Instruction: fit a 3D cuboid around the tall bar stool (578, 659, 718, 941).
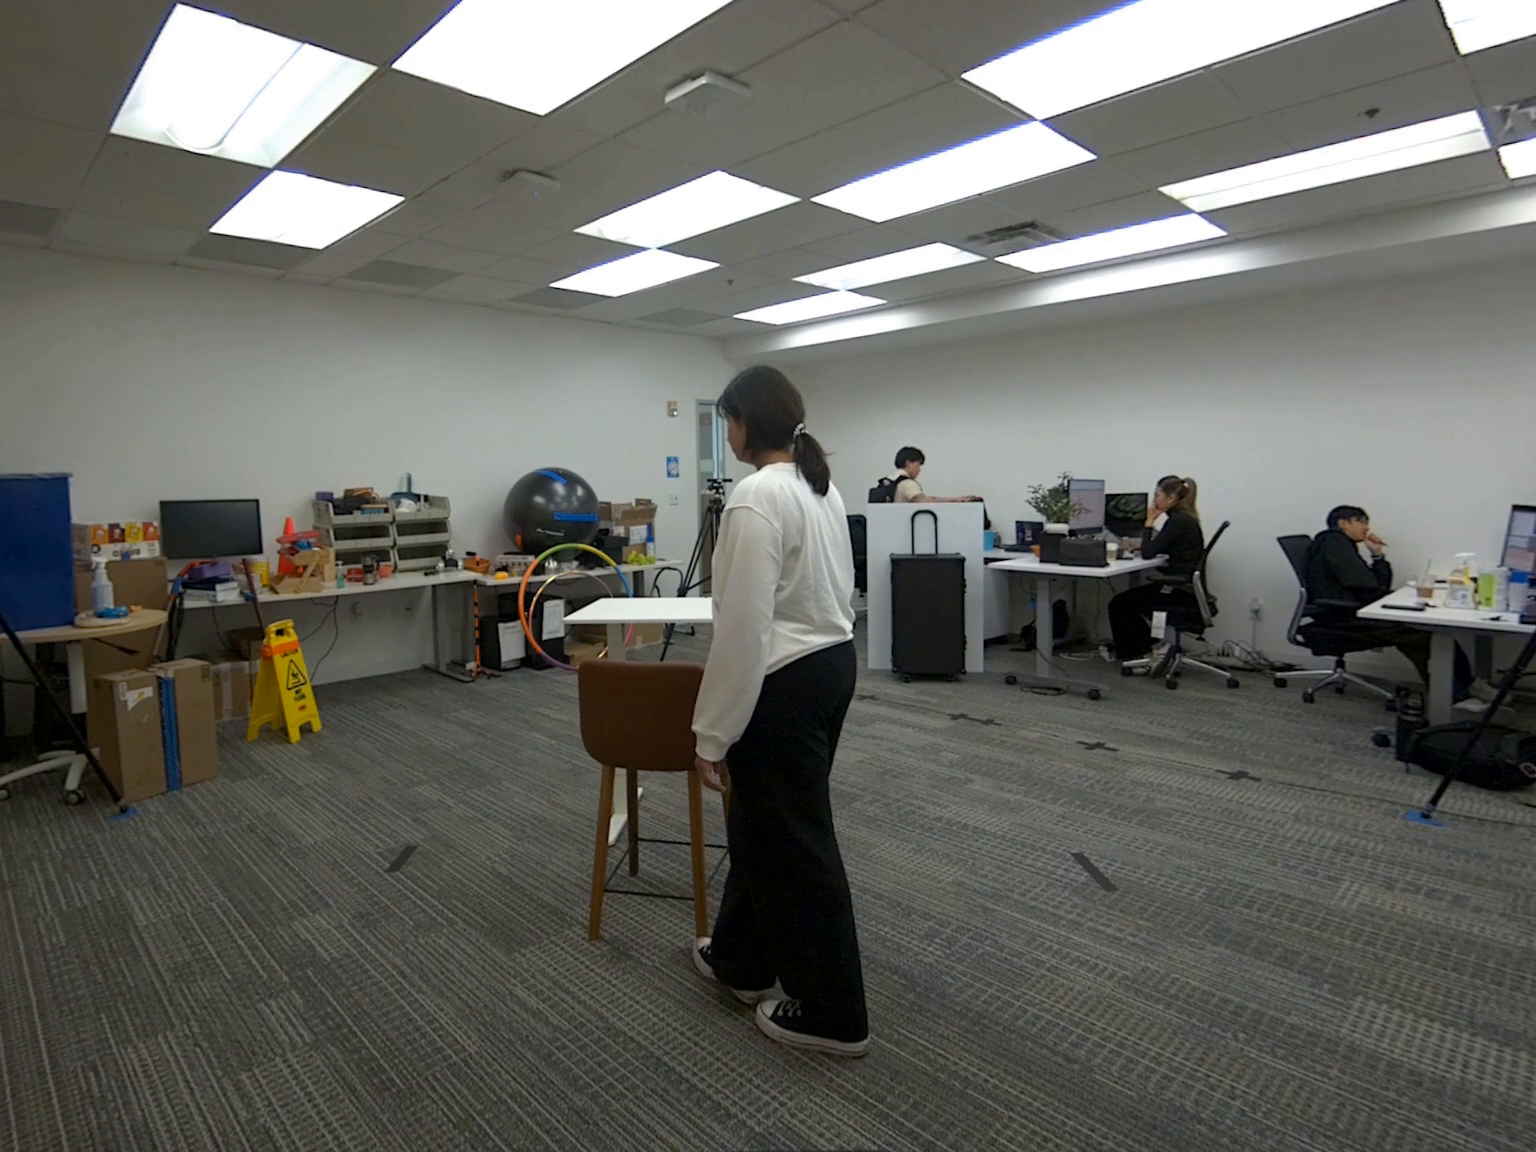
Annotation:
[{"bbox_3d":[-0.333,0.659,2.750,0.463,0.885,0.464,0,6,13],"label":"tall bar stool"}]
